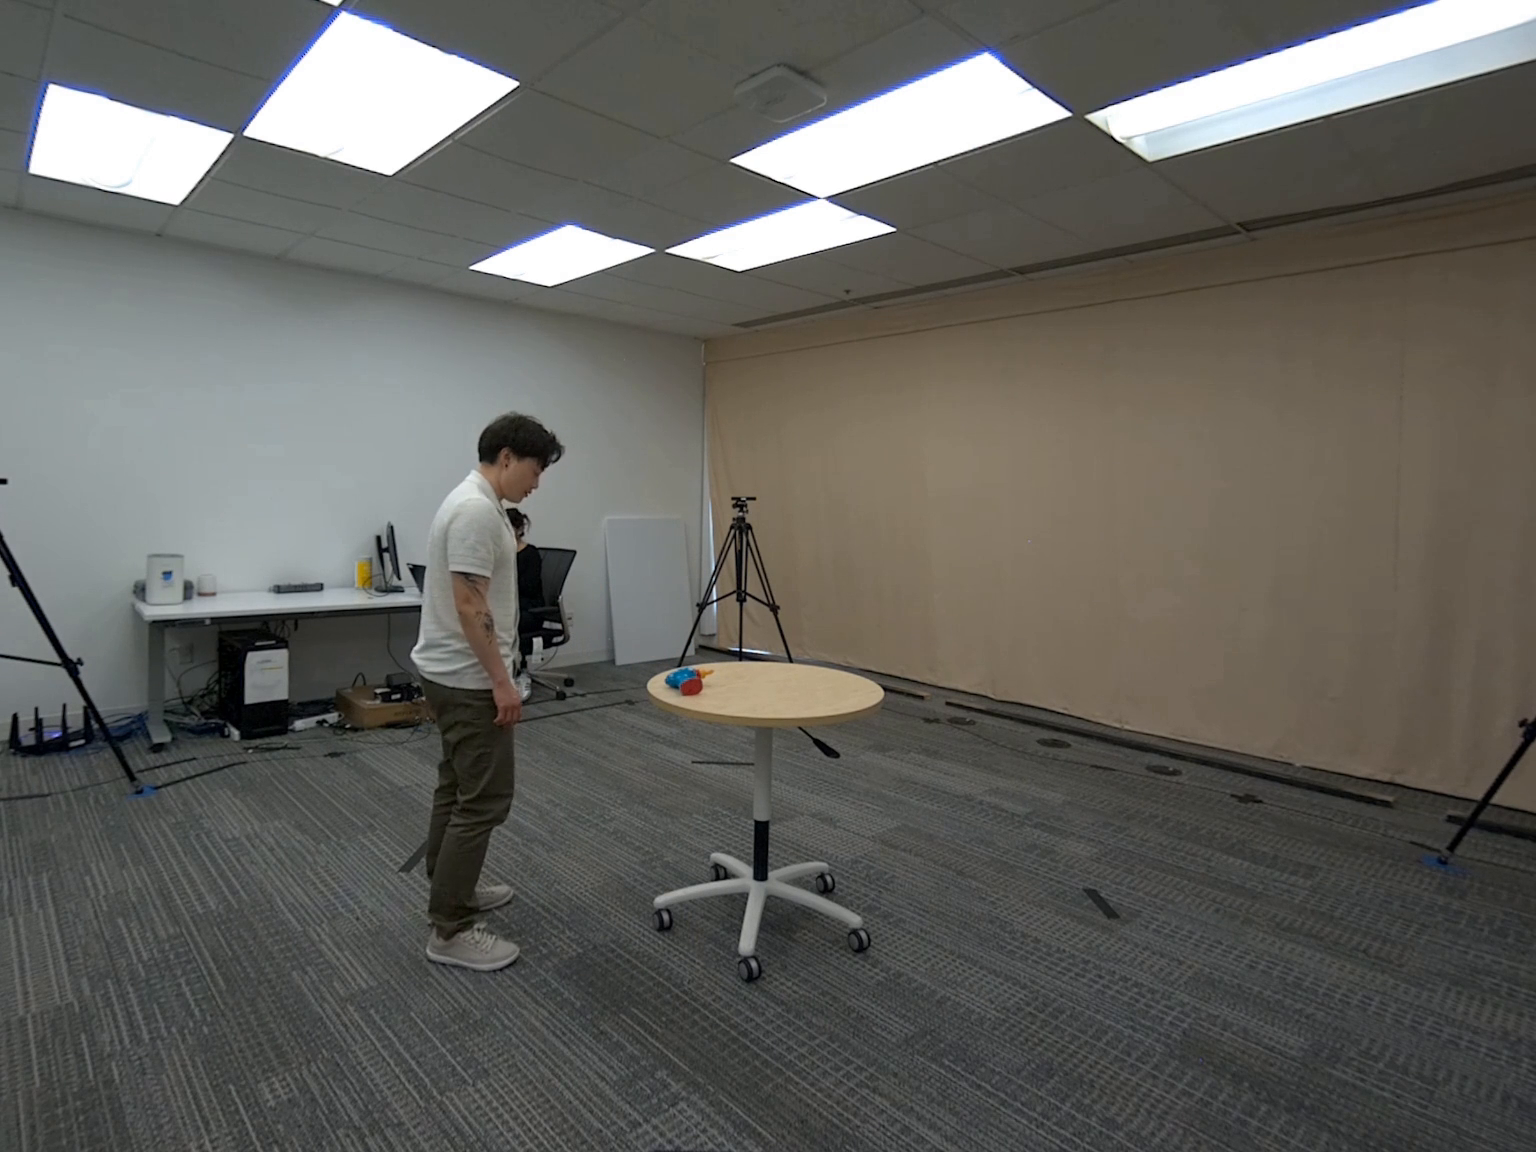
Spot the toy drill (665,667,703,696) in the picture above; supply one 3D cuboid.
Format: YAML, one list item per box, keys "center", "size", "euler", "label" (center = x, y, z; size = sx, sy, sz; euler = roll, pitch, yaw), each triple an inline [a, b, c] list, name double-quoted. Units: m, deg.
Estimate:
- center: [-0.247, 0.330, 2.673]
  size: [0.167, 0.061, 0.149]
  euler: [-5, 10, -19]
  label: "toy drill"
